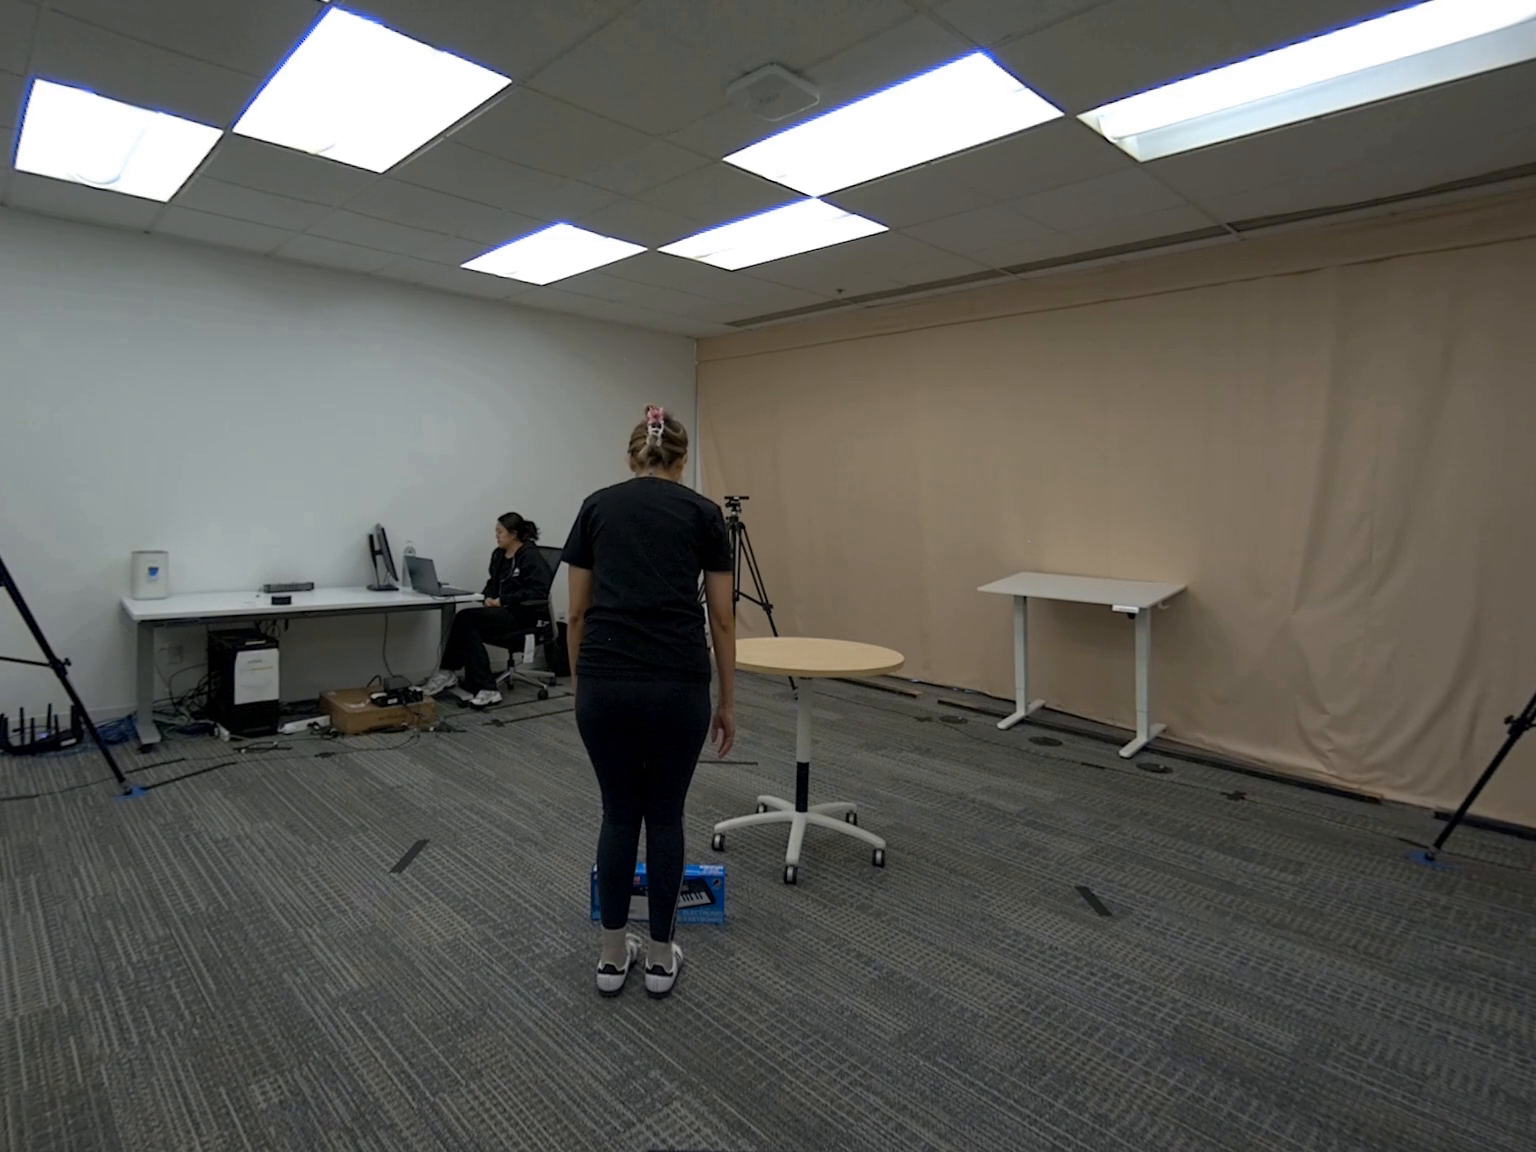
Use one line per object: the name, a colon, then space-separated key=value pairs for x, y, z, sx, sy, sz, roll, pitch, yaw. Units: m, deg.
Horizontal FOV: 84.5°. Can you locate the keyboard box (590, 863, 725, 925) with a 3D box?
keyboard box: x=-0.368 y=1.044 z=2.763 sx=0.437 sy=0.175 sz=0.059 roll=2 pitch=8 yaw=0
